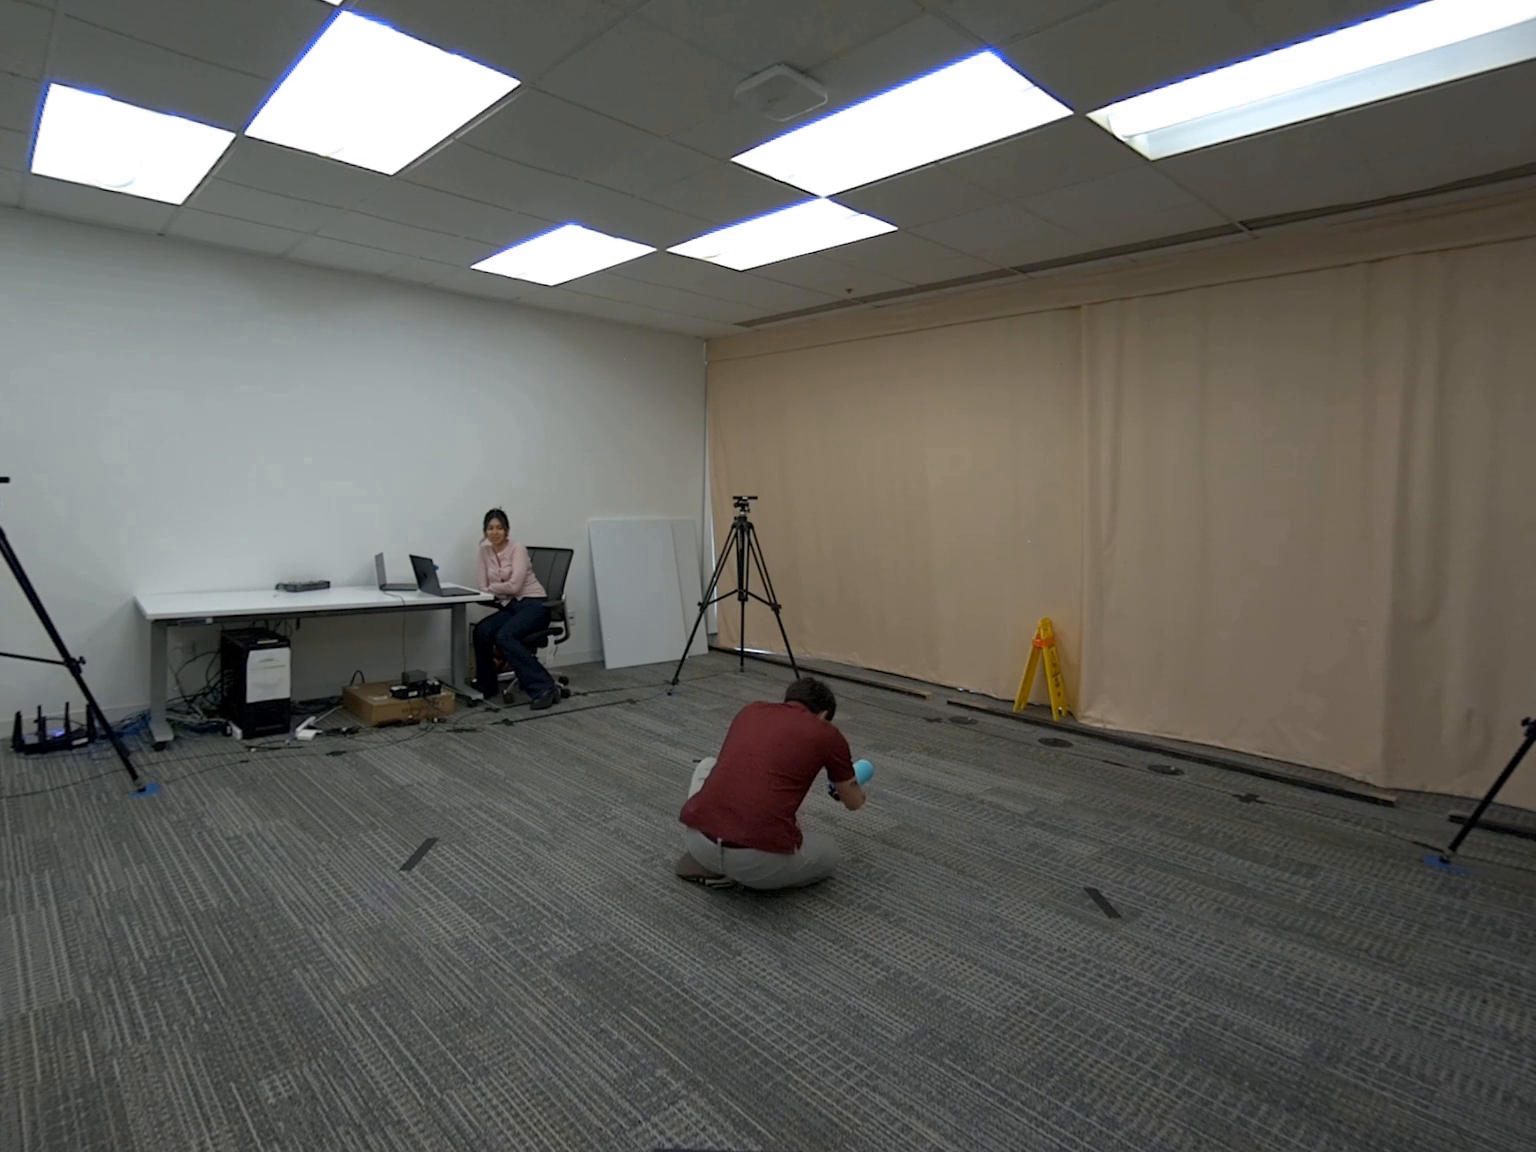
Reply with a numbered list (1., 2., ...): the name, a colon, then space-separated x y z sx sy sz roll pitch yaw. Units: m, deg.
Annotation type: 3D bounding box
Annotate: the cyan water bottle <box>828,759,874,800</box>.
1. cyan water bottle: 0.336 0.851 3.536 0.094 0.091 0.279 4 13 33
